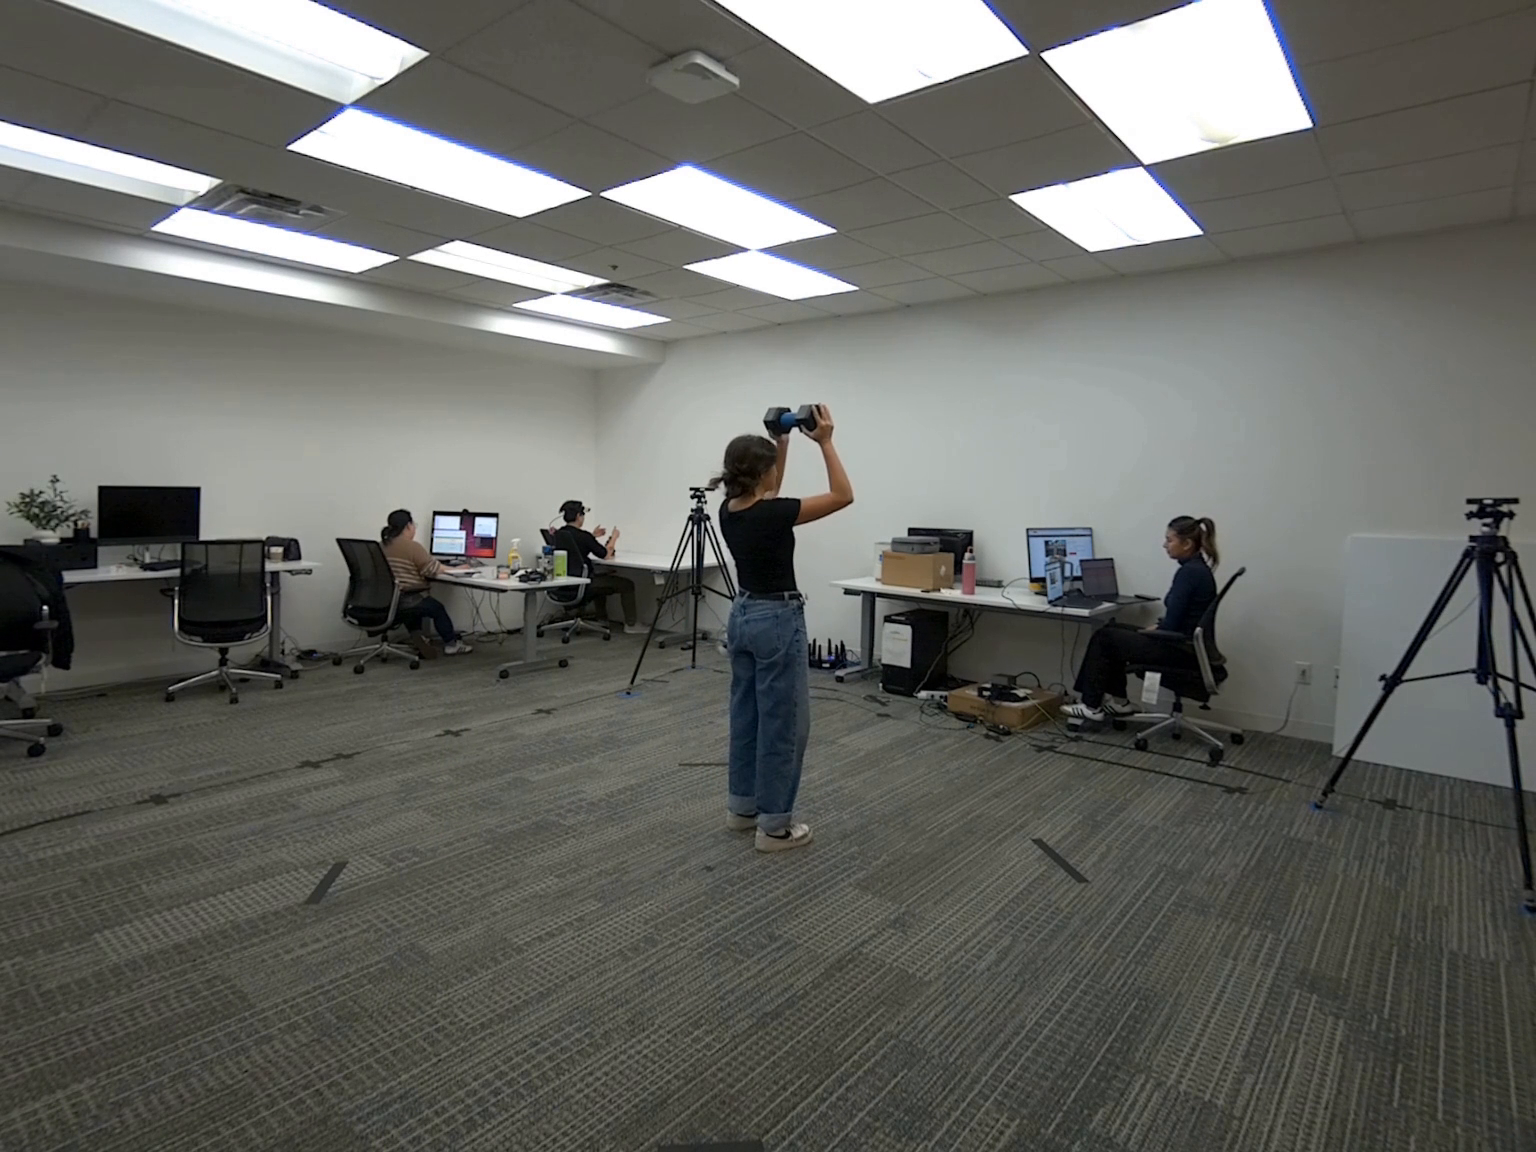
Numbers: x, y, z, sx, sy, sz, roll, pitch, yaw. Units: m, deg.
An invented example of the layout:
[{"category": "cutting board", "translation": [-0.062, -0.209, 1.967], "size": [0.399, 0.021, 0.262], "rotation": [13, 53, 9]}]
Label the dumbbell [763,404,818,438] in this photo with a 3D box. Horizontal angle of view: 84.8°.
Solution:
[{"category": "dumbbell", "translation": [0.095, -0.619, 3.359], "size": [0.104, 0.123, 0.304], "rotation": [35, -14, -34]}]
